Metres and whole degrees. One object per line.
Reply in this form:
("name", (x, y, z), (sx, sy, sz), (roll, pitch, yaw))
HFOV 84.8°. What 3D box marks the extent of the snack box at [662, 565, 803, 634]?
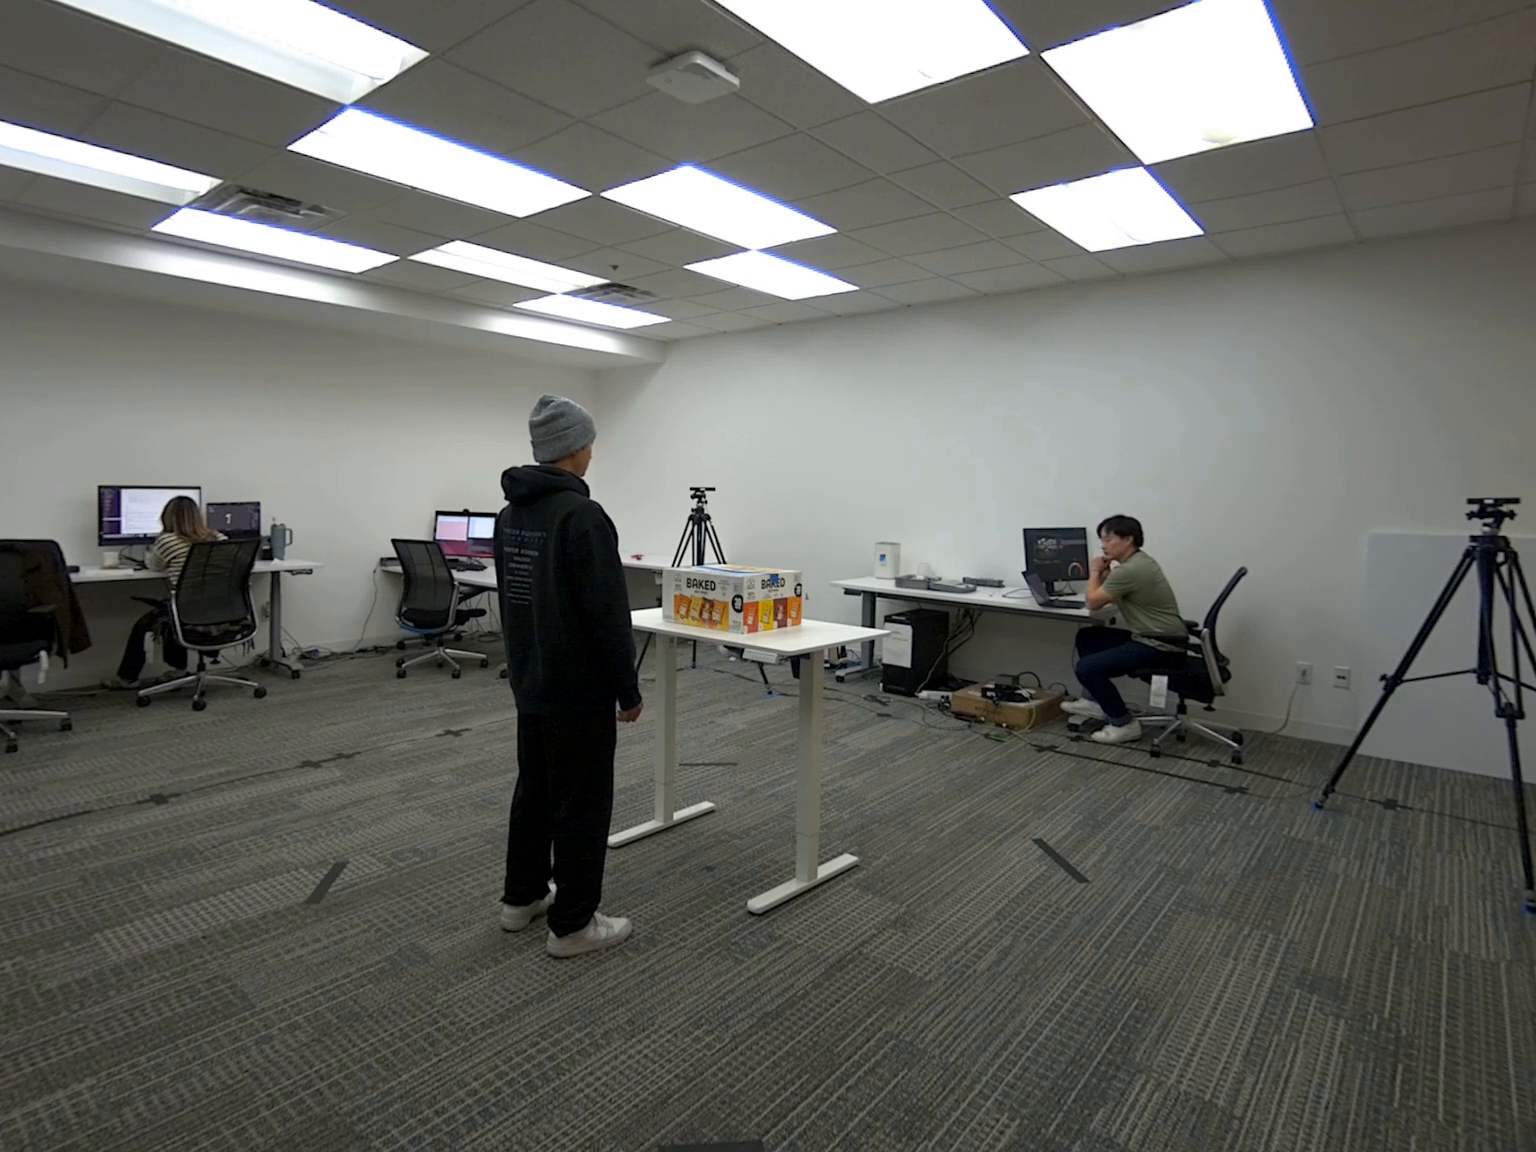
("snack box", (-0.146, 0.075, 3.208), (0.419, 0.205, 0.330), (5, 5, 40))
